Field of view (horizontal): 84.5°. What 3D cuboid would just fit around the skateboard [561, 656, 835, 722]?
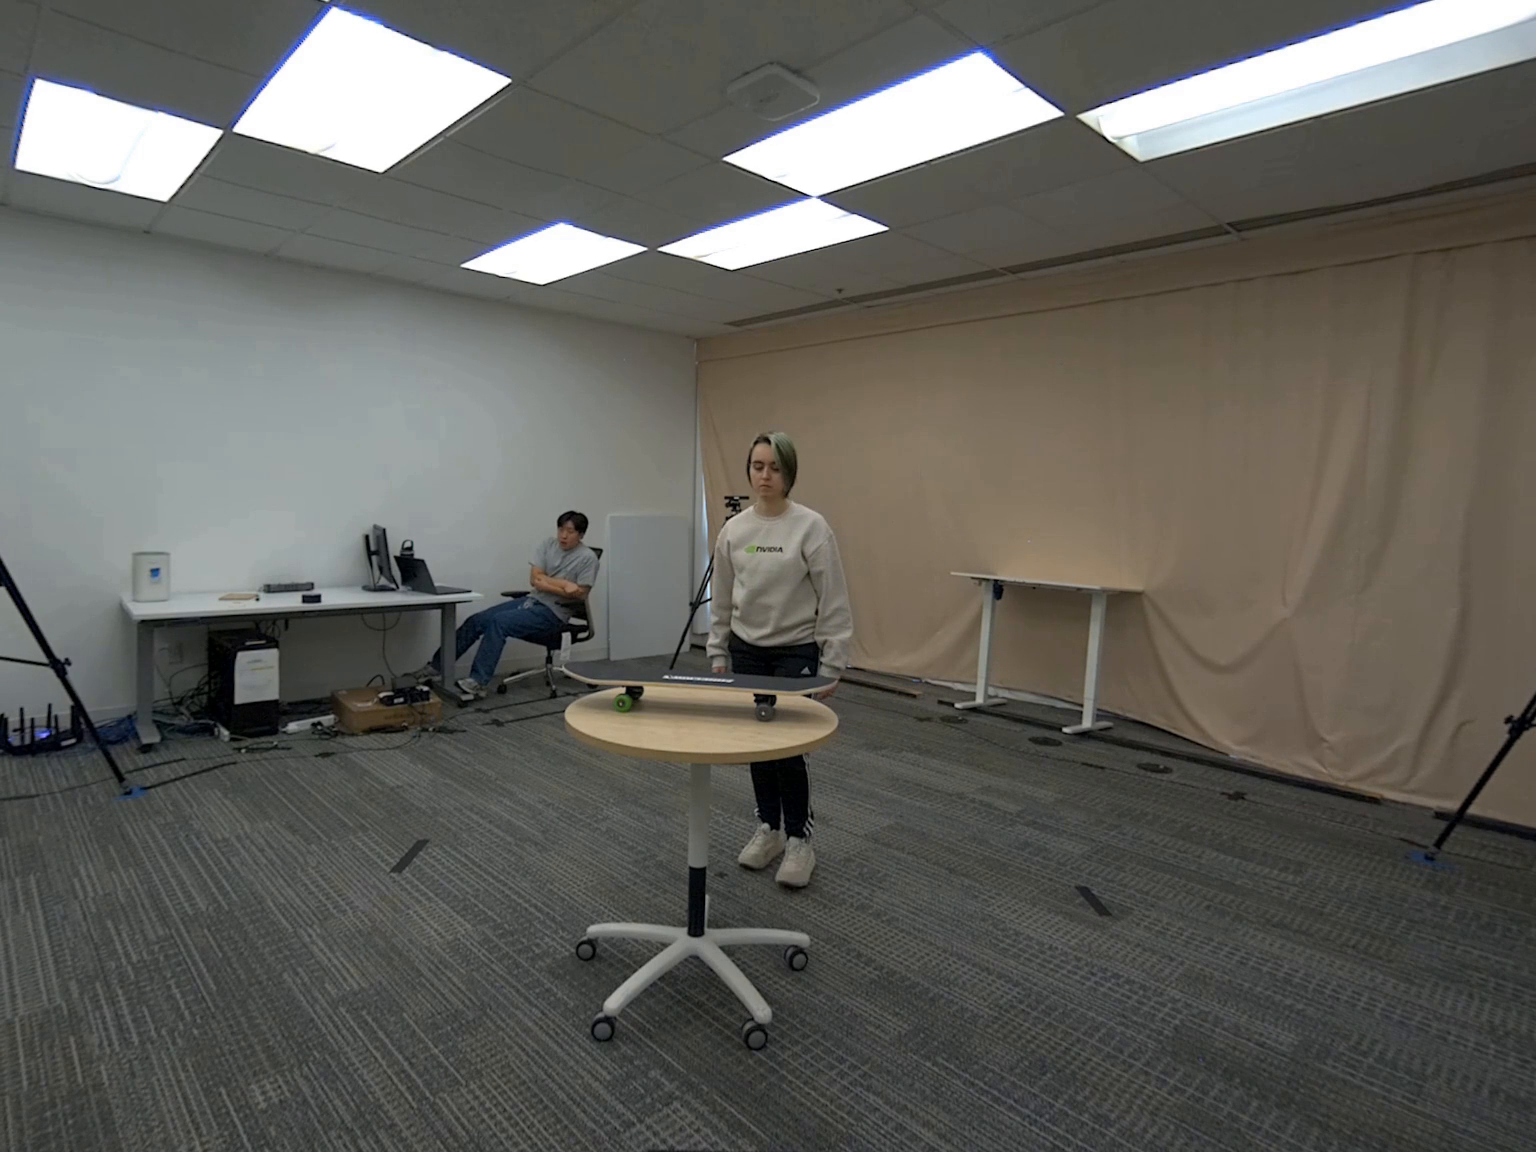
[{"bbox_3d":[-0.204,0.340,2.396,0.790,0.110,0.193,2,4,6],"label":"skateboard"}]
